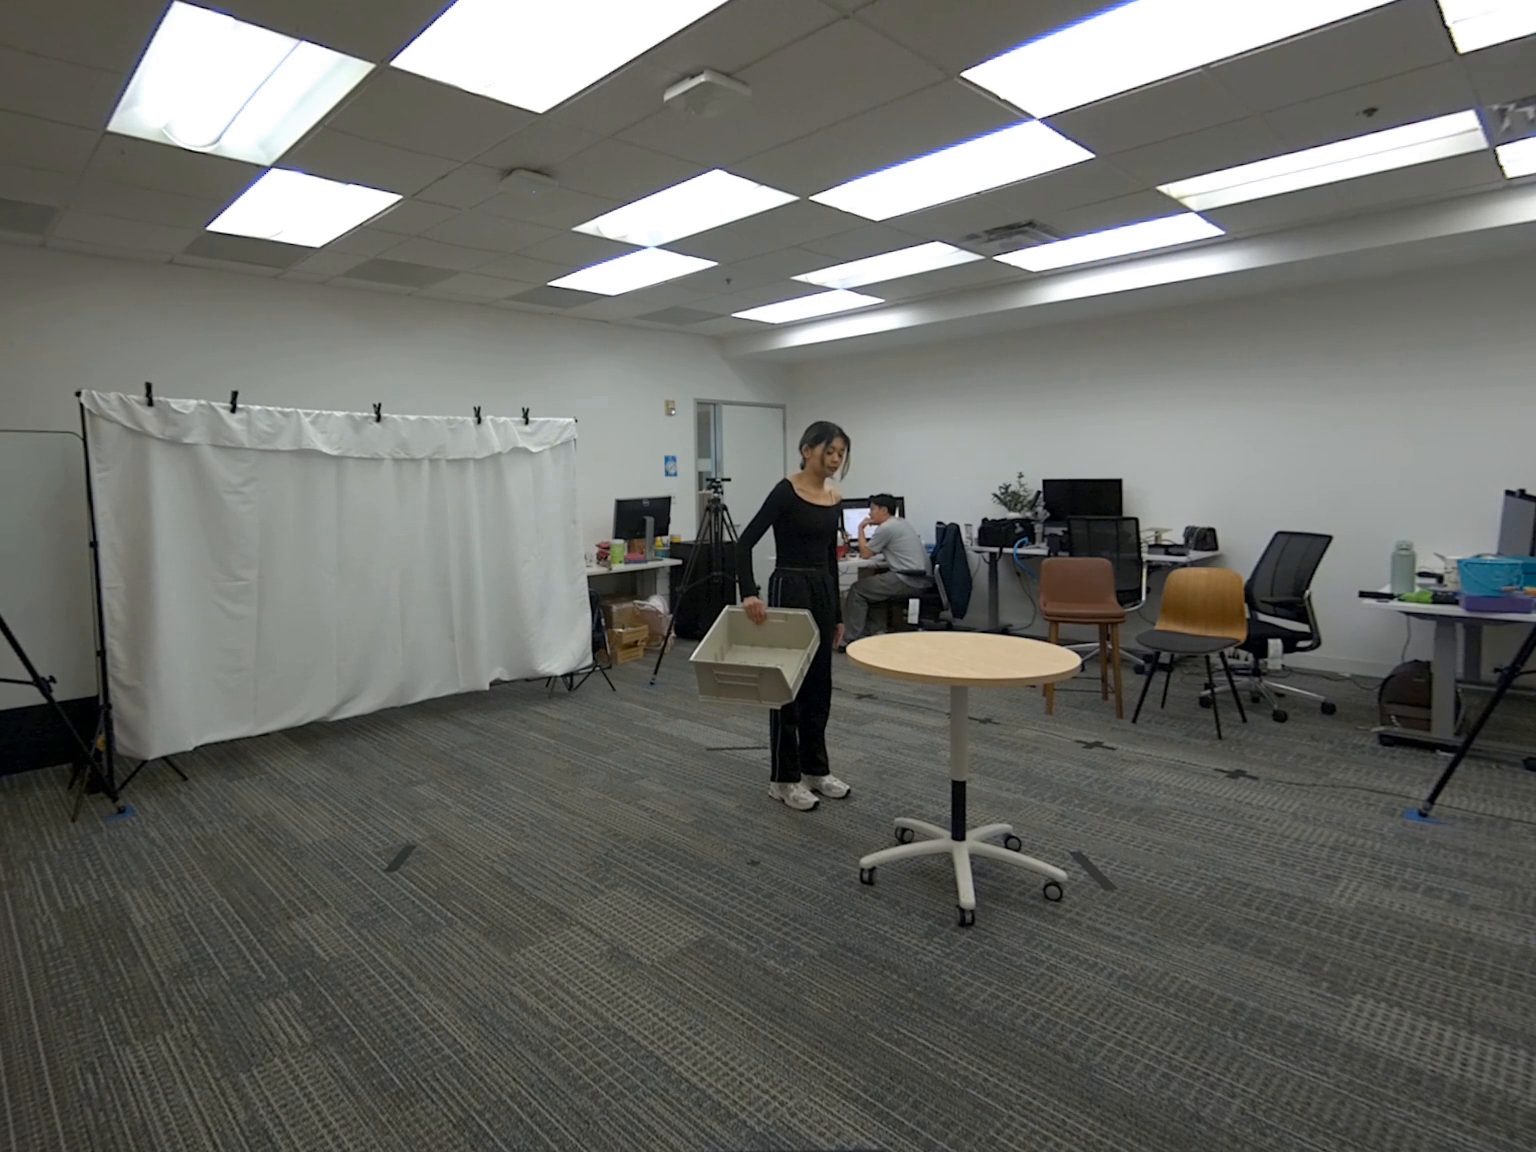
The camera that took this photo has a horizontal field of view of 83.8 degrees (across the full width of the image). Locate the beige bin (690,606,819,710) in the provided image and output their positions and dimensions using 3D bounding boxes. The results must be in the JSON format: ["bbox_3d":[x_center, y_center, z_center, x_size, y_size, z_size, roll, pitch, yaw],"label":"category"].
[{"bbox_3d":[-0.038,0.298,3.232,0.385,0.185,0.423,1,25,20],"label":"beige bin"}]
